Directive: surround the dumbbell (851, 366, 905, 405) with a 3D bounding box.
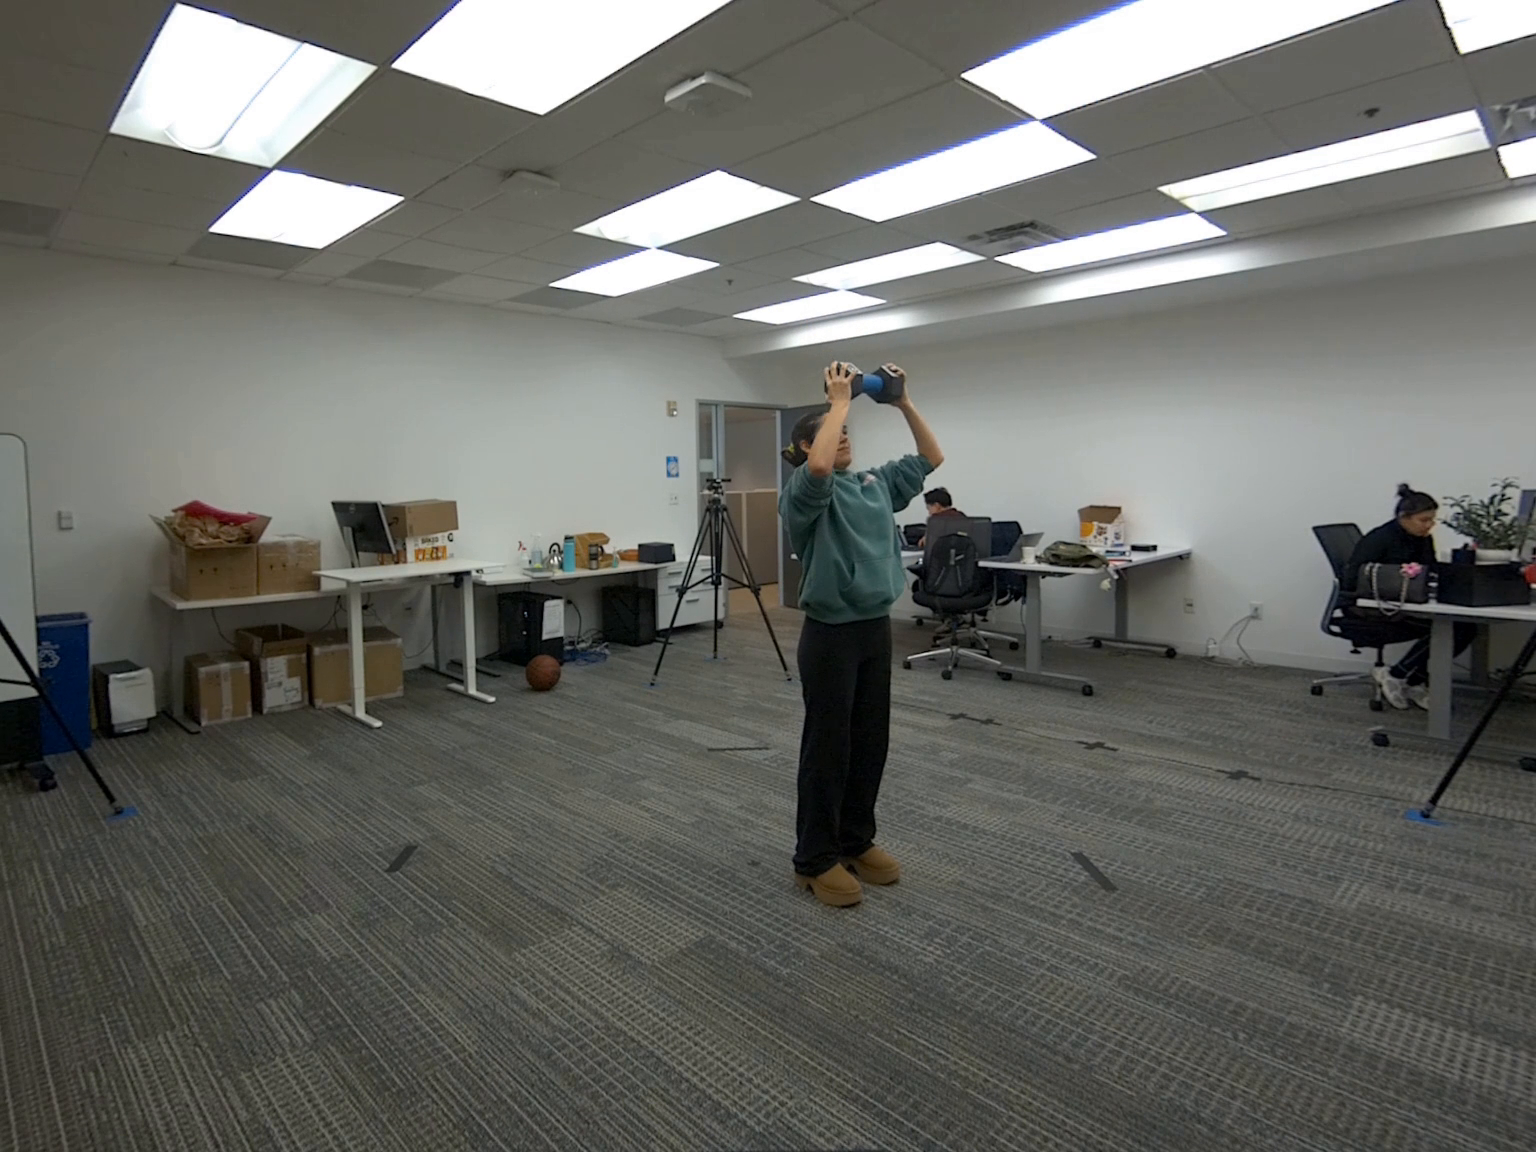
[{"bbox_3d":[0.317,-0.626,2.772,0.286,0.122,0.112,-8,16,-43],"label":"dumbbell"}]
